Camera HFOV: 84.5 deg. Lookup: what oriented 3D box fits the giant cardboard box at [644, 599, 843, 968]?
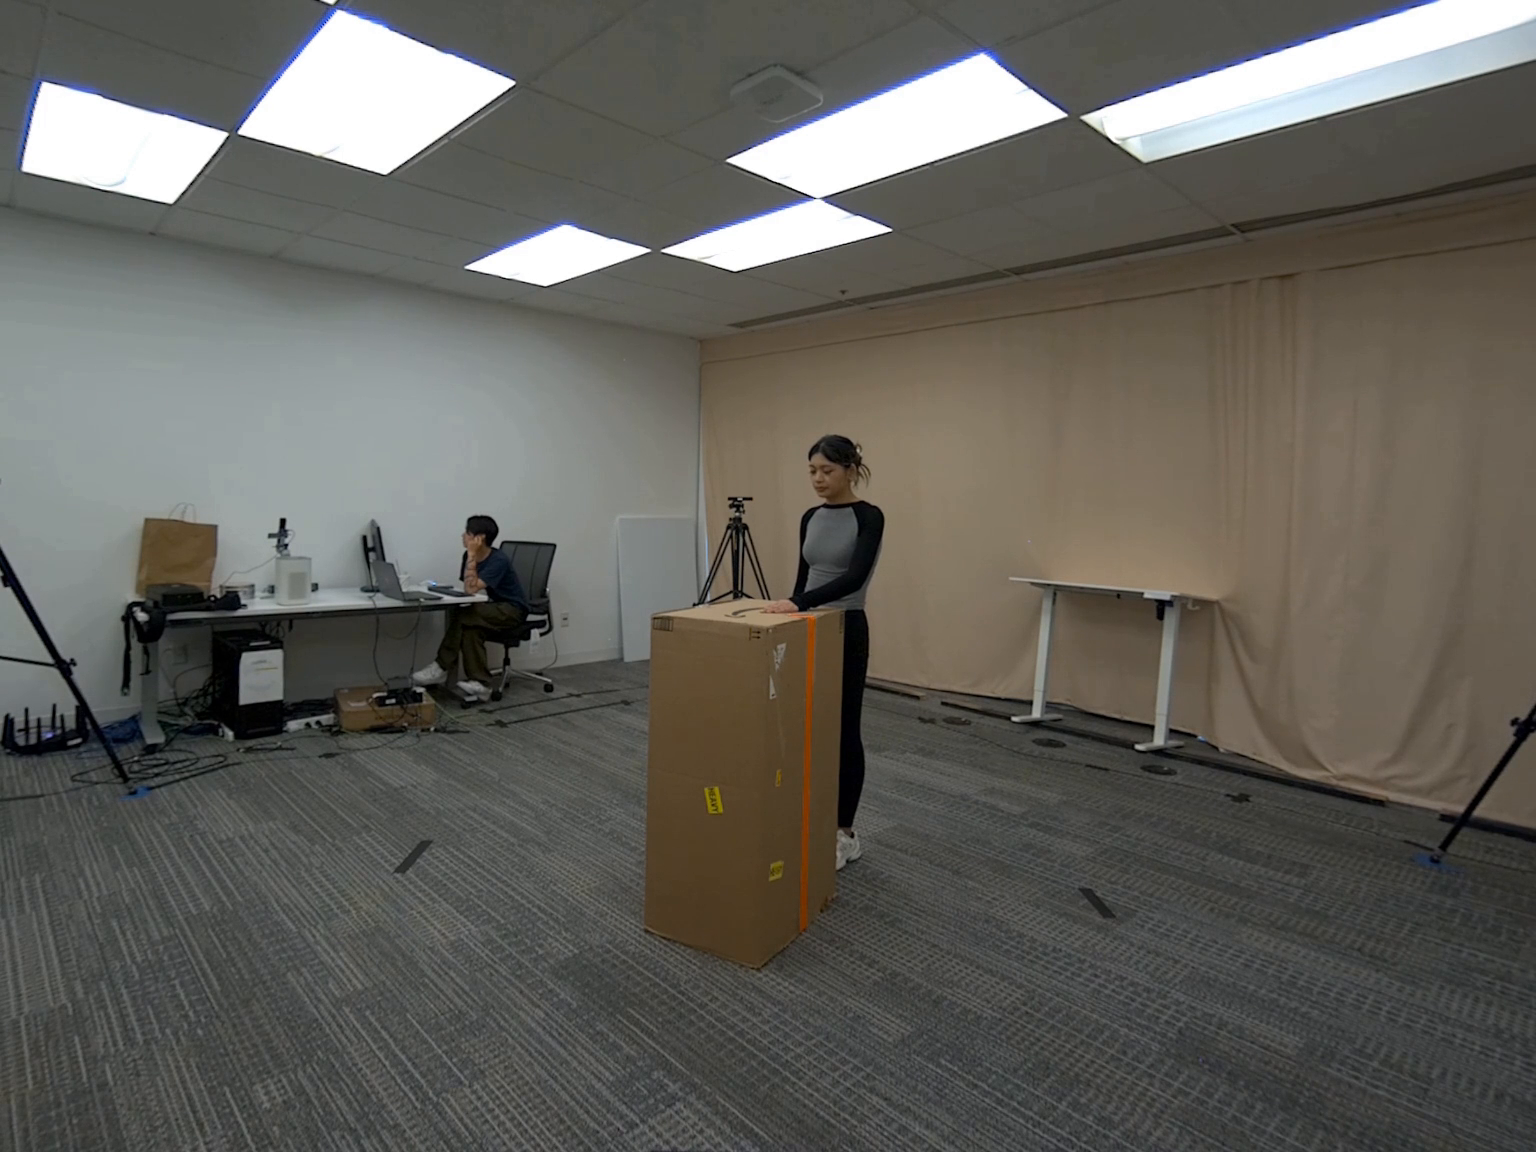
[{"bbox_3d":[-0.070,0.632,2.804,0.456,1.025,0.573,2,3,28],"label":"giant cardboard box"}]
